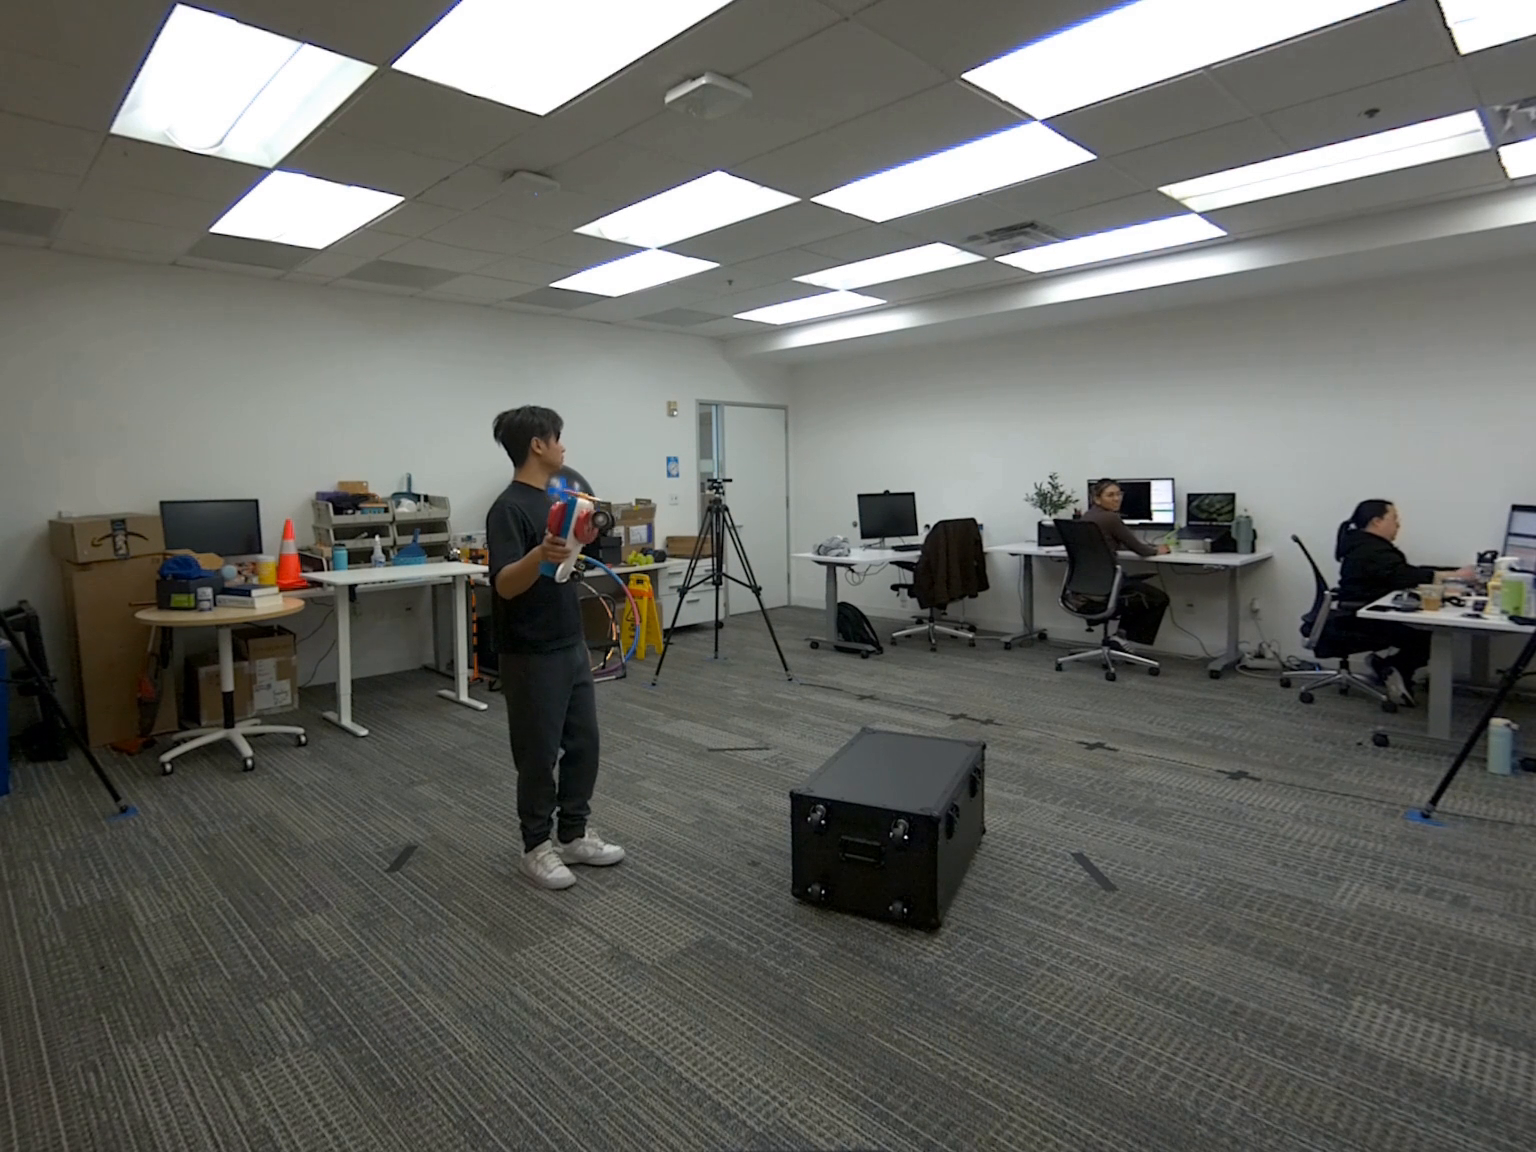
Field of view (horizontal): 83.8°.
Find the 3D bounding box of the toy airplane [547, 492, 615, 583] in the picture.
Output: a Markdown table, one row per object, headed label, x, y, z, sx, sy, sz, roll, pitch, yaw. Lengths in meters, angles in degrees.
| label | x | y | z | sx | sy | sz | roll | pitch | yaw |
| --- | --- | --- | --- | --- | --- | --- | --- | --- | --- |
| toy airplane | -0.547 | -0.109 | 2.421 | 0.157 | 0.261 | 0.248 | 28 | -29 | 3 |
